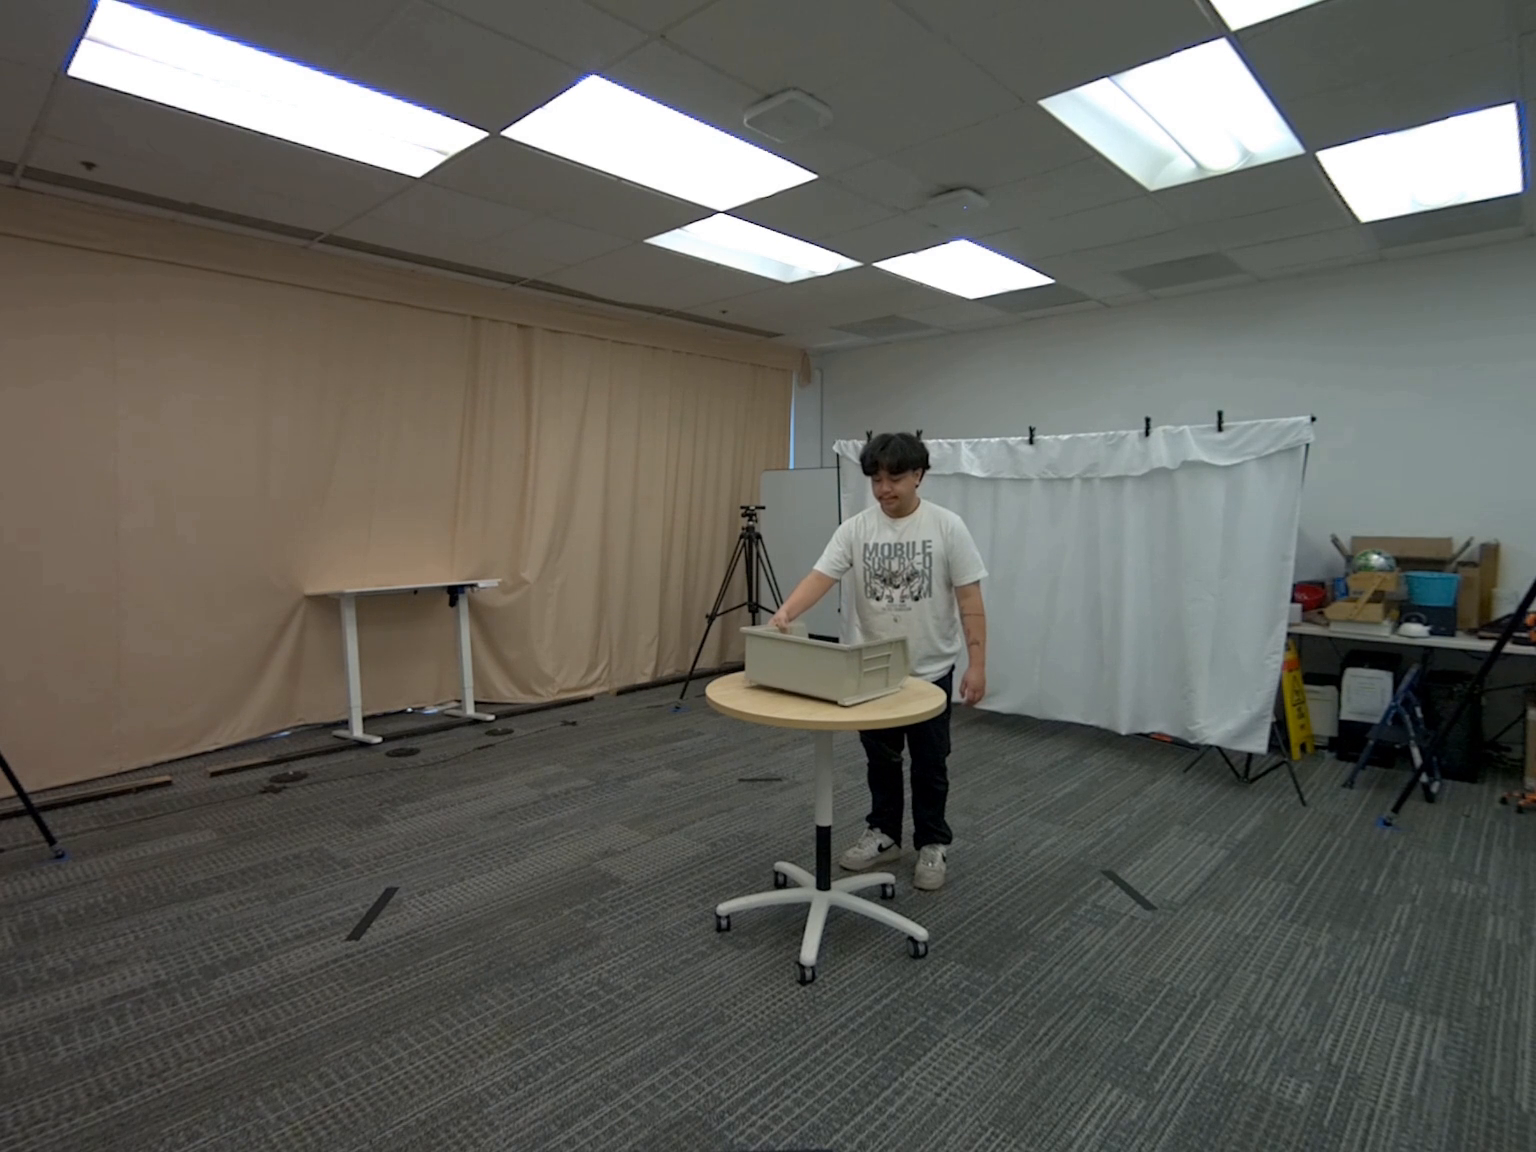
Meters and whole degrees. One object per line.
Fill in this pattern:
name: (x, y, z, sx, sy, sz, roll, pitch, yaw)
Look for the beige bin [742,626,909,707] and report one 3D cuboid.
beige bin: (0.188, 0.272, 2.741, 0.437, 0.188, 0.366, 7, 7, 40)
